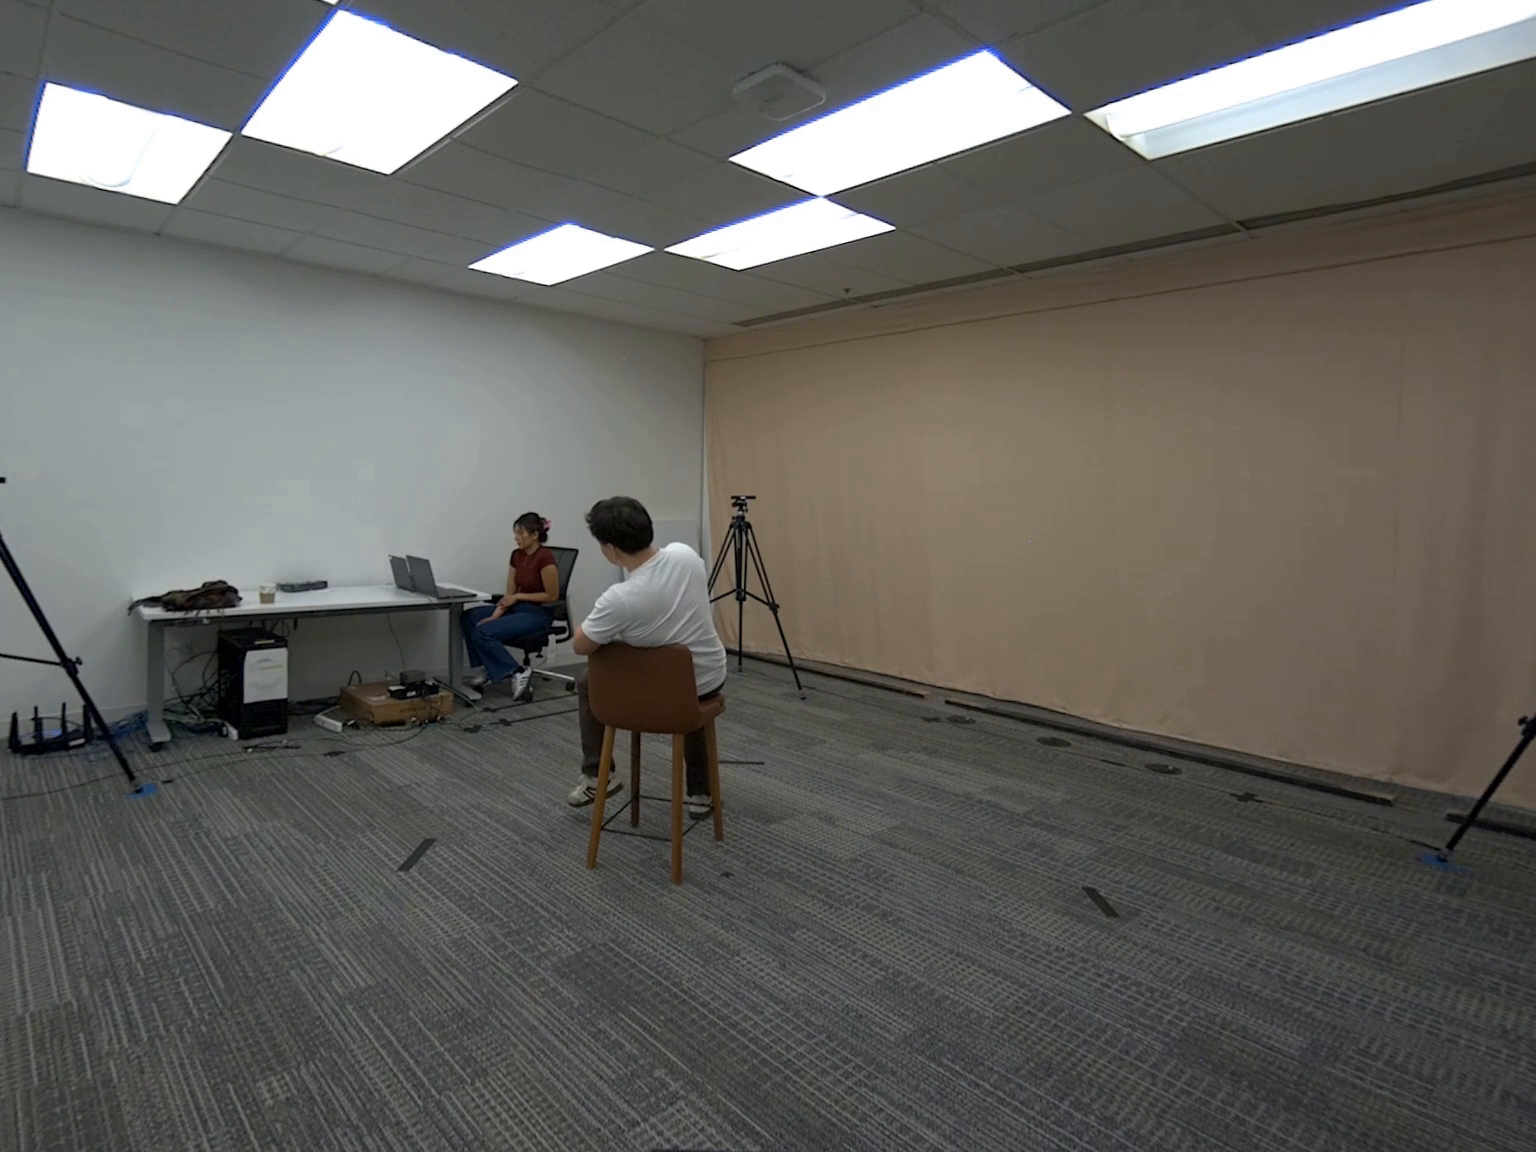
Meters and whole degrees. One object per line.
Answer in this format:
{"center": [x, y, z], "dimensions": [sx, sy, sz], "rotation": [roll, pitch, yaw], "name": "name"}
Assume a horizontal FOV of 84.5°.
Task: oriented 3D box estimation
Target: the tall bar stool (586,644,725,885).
{"center": [-0.438, 0.654, 3.255], "dimensions": [0.463, 0.887, 0.462], "rotation": [1, 5, 18], "name": "tall bar stool"}
